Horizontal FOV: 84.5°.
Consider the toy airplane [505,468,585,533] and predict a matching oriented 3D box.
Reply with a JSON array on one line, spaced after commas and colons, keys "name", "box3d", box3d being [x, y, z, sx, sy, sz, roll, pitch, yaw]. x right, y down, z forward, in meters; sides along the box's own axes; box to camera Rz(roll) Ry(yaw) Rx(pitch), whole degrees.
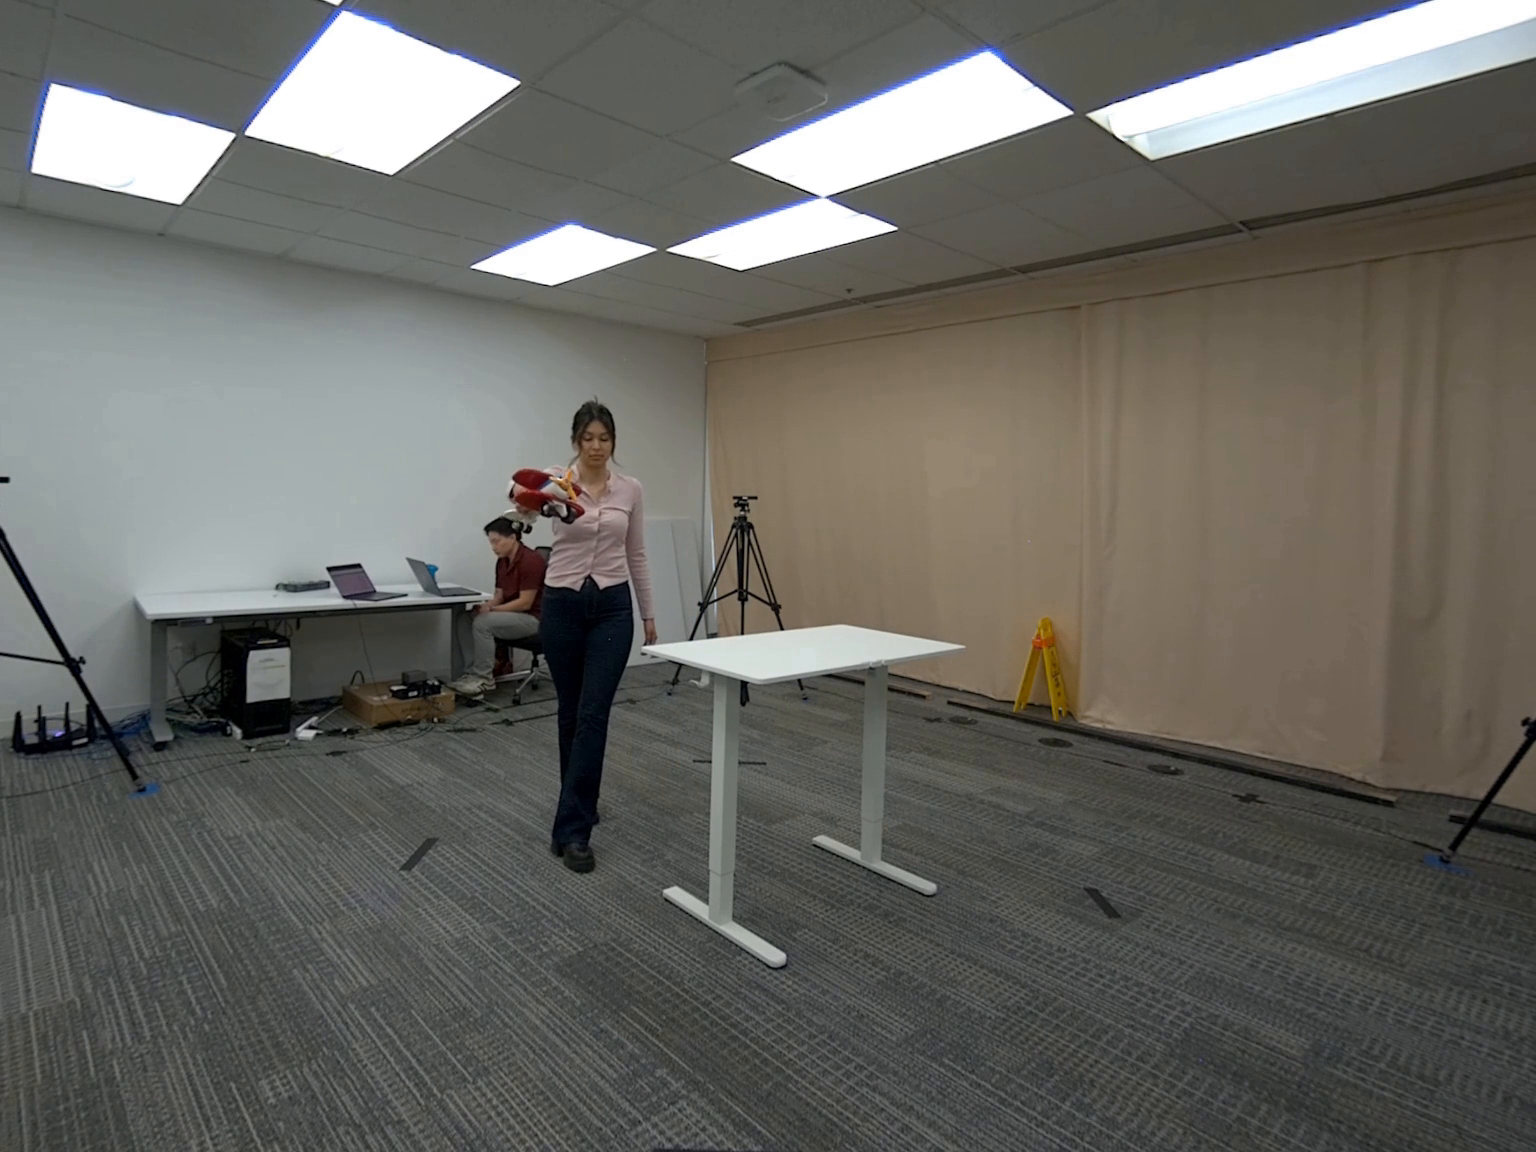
[{"name": "toy airplane", "box3d": [-0.751, -0.239, 2.699, 0.261, 0.158, 0.246, -4, -16, 9]}]
